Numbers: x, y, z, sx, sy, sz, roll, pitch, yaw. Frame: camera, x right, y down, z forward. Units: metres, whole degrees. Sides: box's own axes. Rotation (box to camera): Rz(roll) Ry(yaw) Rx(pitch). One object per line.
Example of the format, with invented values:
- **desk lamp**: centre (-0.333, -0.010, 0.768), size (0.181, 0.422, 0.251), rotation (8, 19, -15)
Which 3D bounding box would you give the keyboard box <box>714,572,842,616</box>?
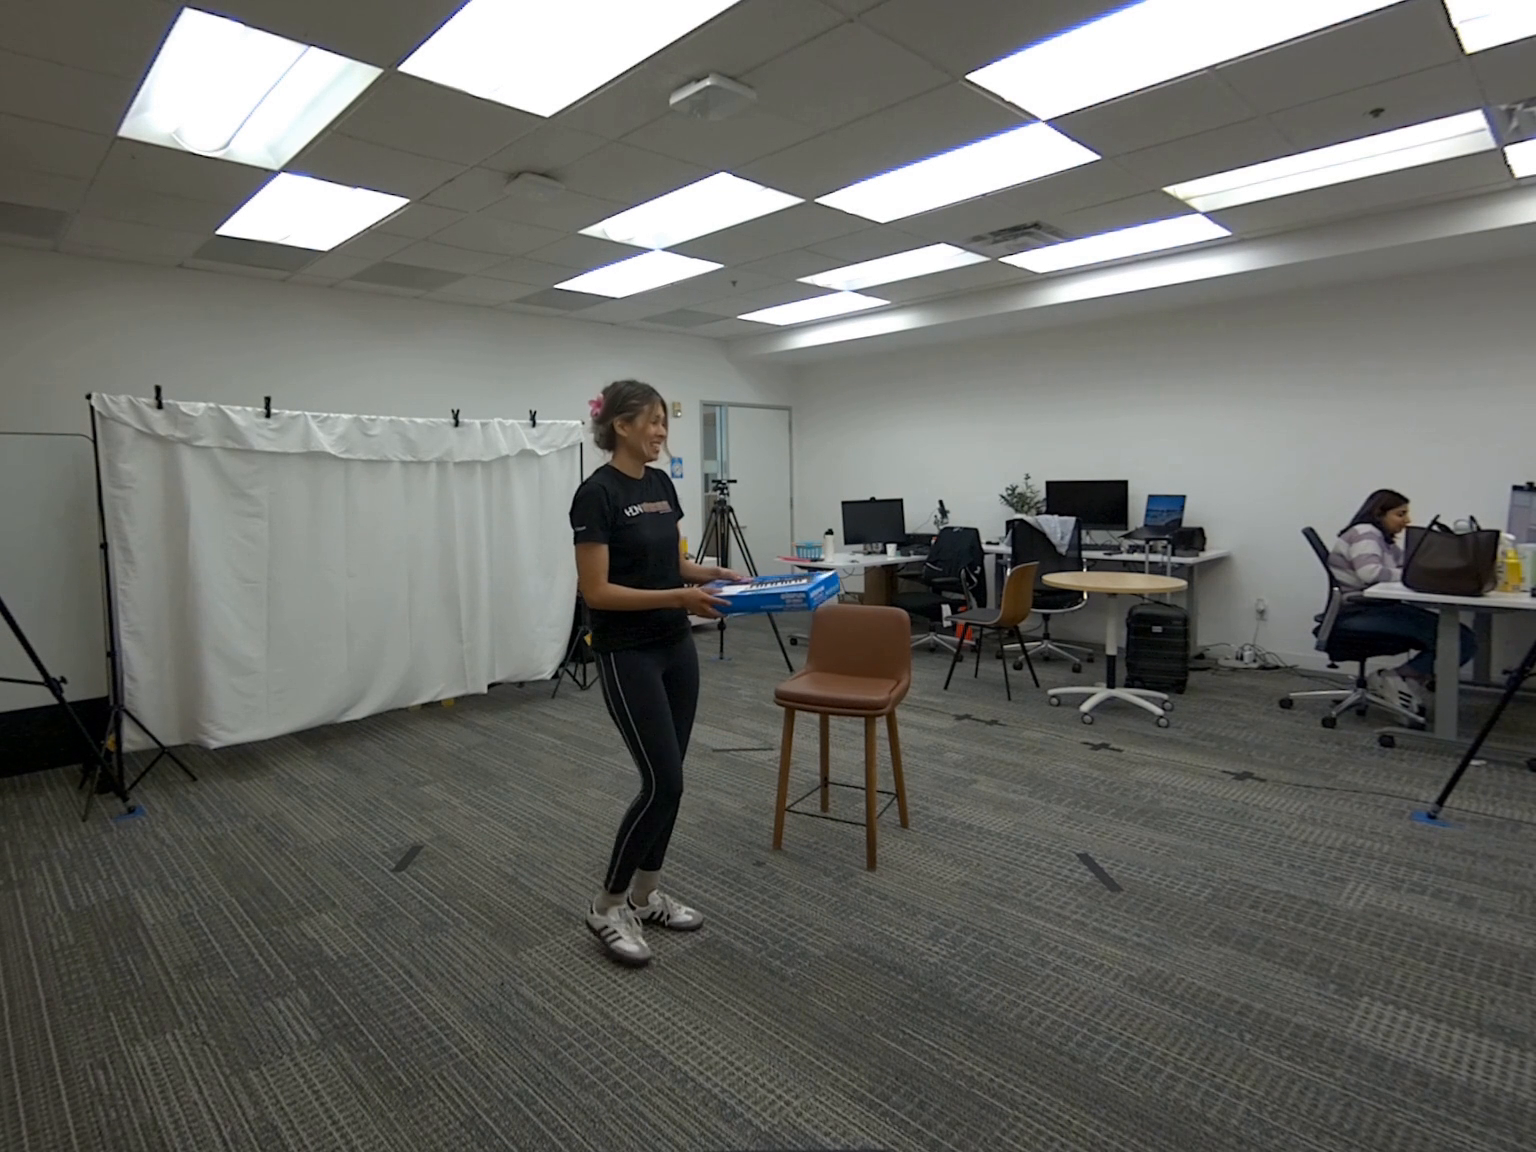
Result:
- **keyboard box**: centre (-0.027, 0.056, 2.448), size (0.448, 0.058, 0.173), rotation (-5, 15, 37)
